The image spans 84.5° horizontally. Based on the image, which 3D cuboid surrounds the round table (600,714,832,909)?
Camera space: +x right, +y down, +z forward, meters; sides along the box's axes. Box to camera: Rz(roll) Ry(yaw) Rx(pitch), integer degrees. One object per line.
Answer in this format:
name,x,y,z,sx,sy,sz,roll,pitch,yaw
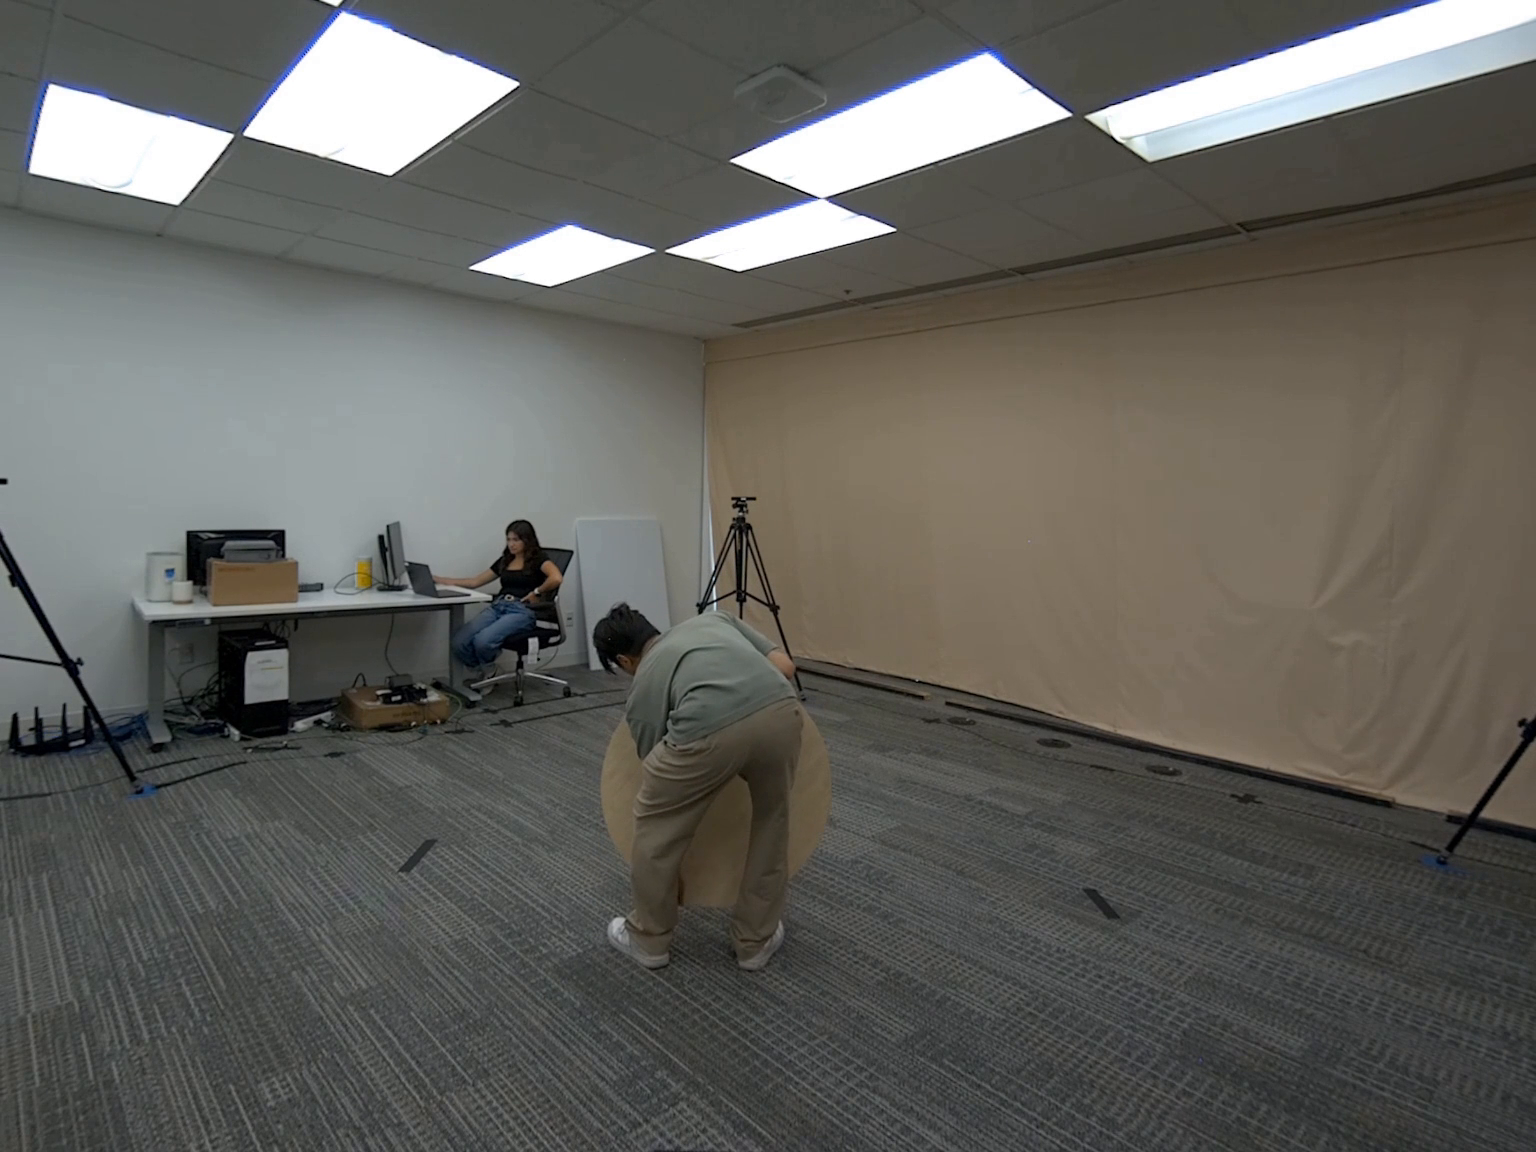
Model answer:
round table,-0.231,0.726,3.167,0.781,0.789,0.786,1,-7,-7
